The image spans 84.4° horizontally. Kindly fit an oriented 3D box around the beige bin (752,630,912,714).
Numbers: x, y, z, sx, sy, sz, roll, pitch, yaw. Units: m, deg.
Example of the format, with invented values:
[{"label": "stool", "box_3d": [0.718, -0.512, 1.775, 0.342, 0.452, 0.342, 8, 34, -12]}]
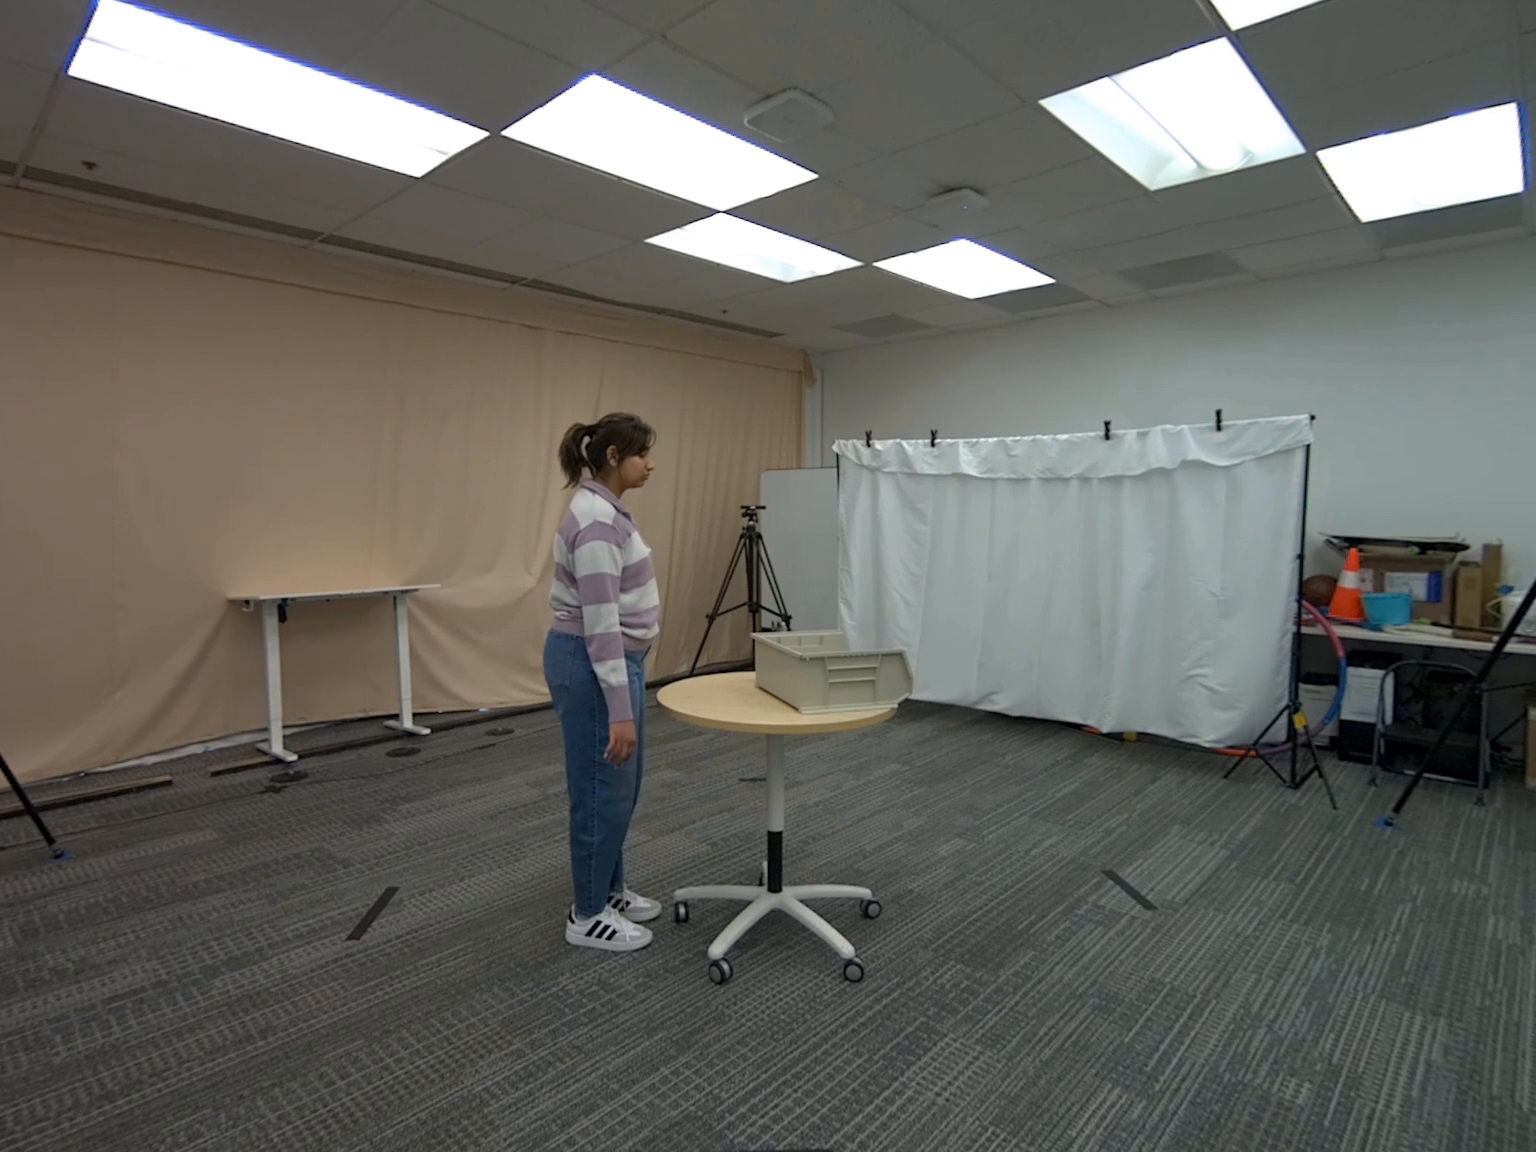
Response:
[{"label": "beige bin", "box_3d": [0.195, 0.300, 2.681, 0.370, 0.188, 0.431, -2, 5, -20]}]
